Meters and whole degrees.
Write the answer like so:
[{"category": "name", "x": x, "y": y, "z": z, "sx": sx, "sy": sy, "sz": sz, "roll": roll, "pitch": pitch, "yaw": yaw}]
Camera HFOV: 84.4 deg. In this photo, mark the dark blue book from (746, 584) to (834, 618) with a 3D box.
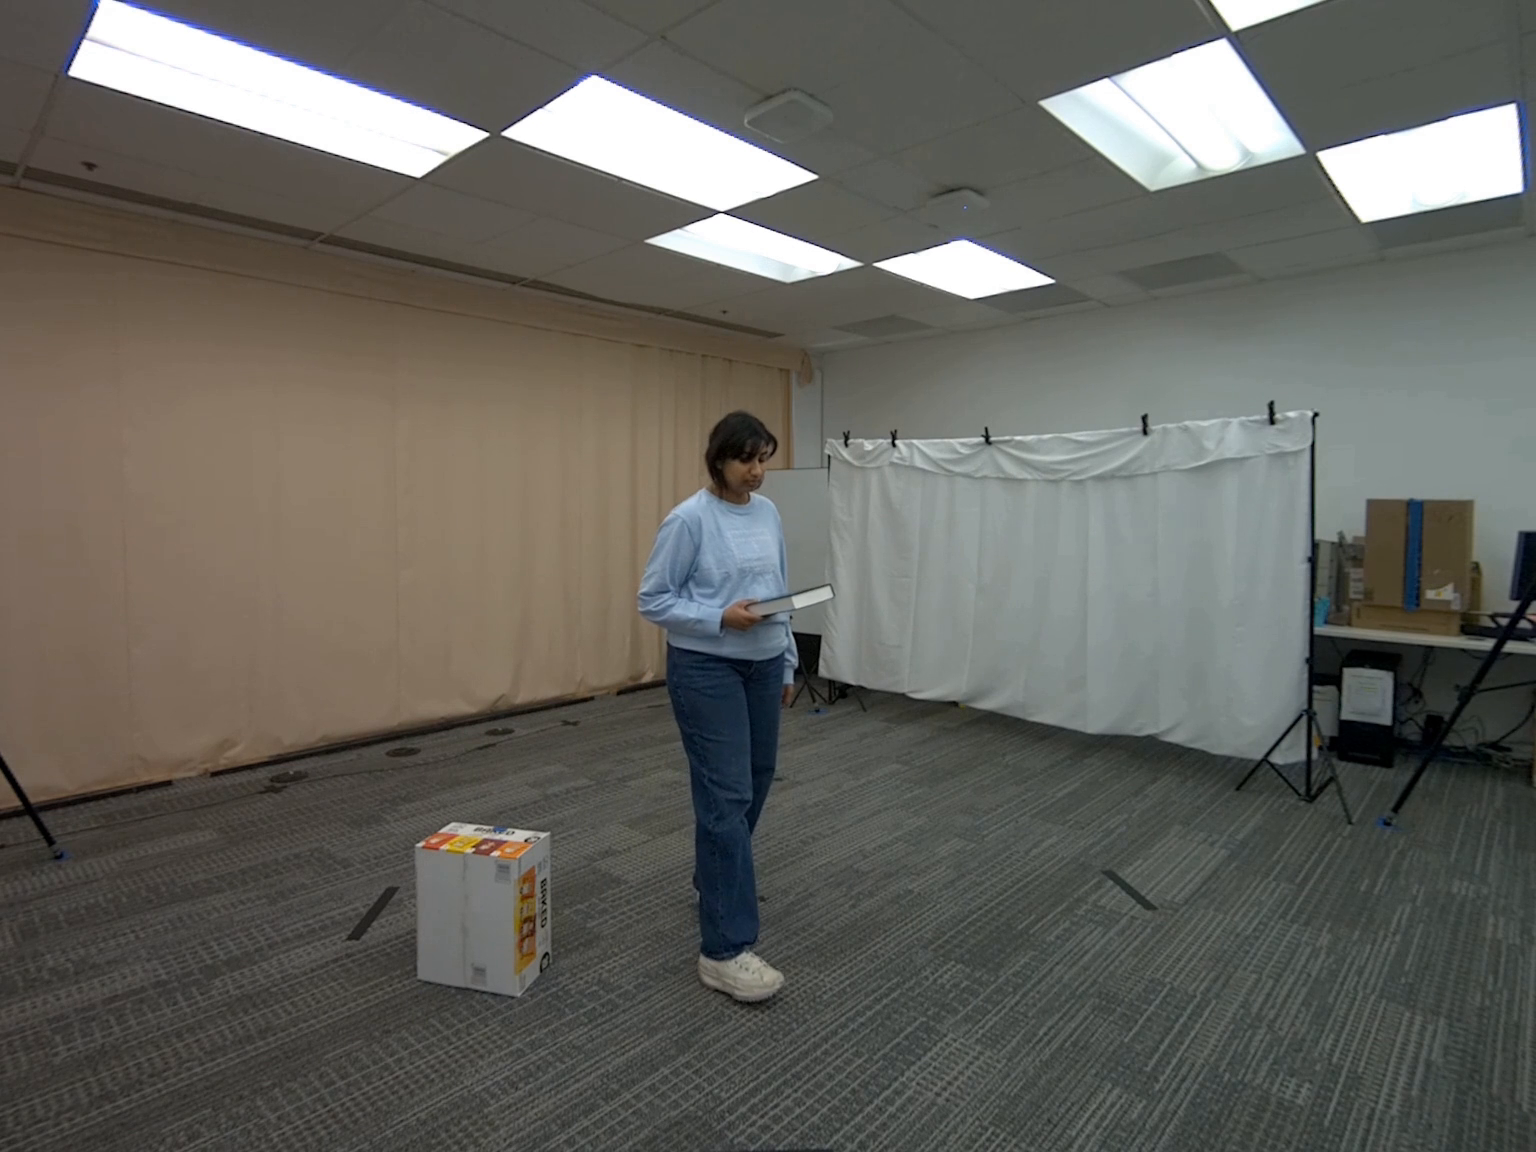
[{"category": "dark blue book", "x": 0.050, "y": 0.075, "z": 2.464, "sx": 0.159, "sy": 0.045, "sz": 0.251, "roll": -14, "pitch": 0, "yaw": -40}]
